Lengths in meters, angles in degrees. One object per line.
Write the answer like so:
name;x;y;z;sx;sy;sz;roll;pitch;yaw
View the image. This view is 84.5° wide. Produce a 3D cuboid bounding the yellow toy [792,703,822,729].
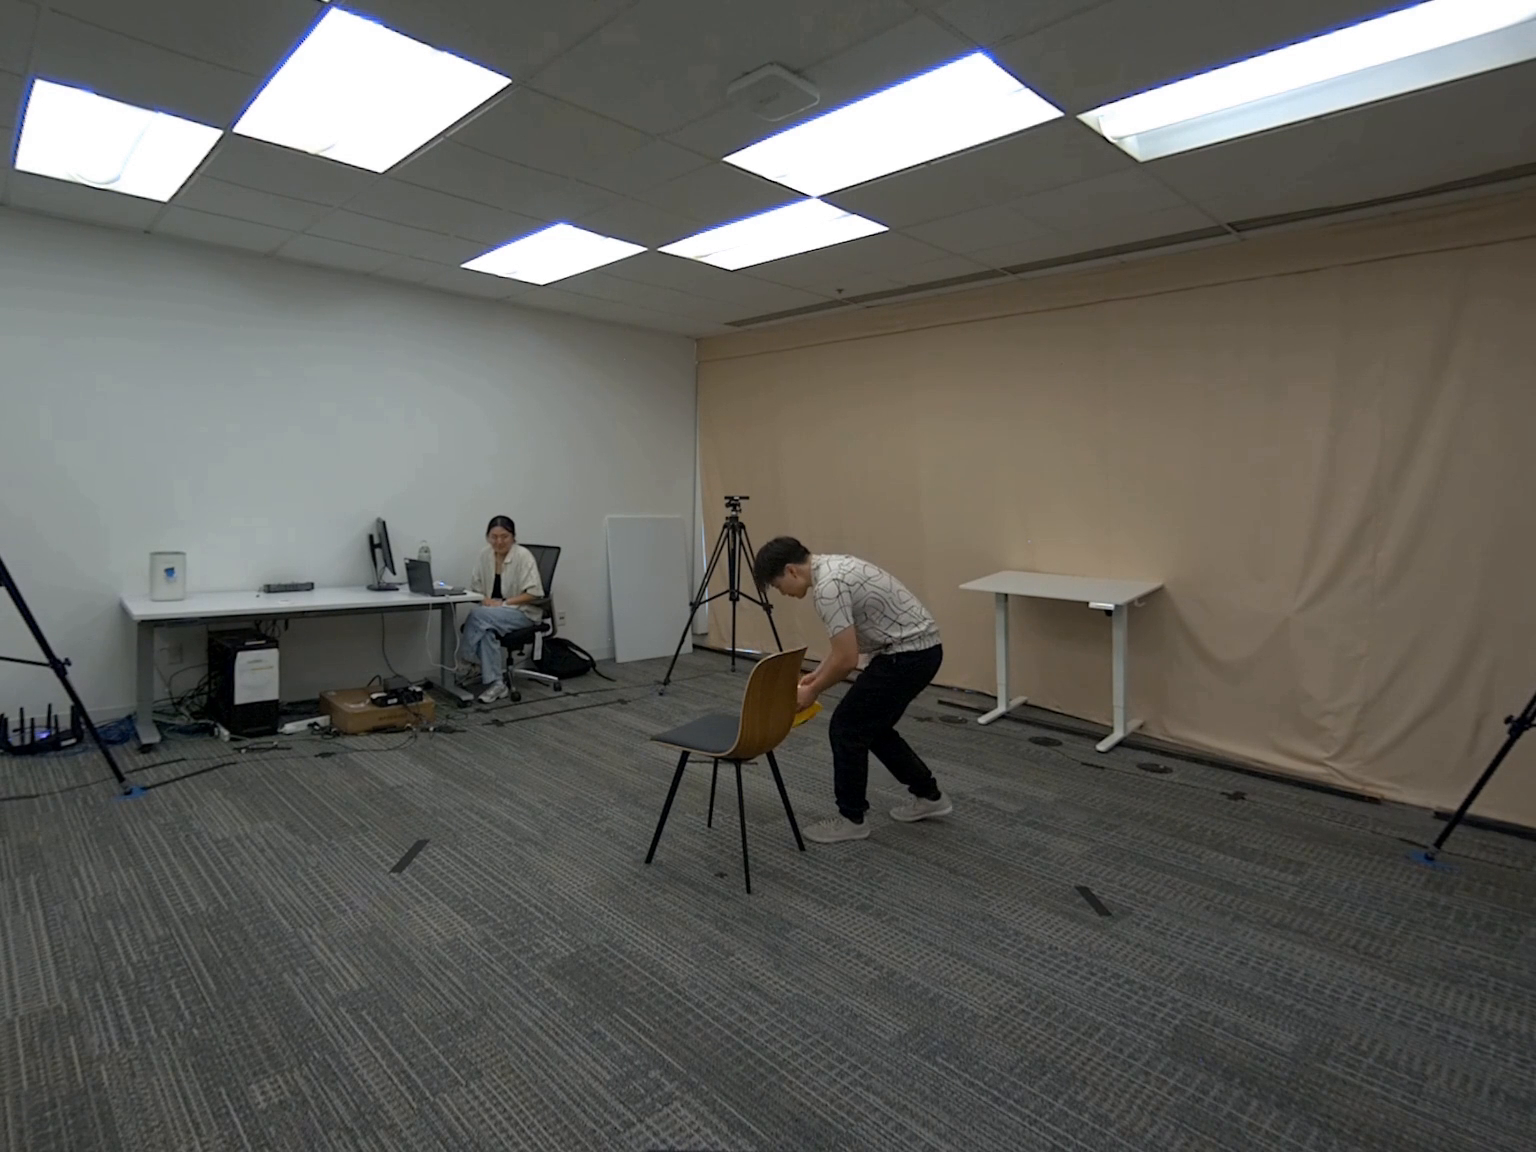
yellow toy;0.104;0.530;3.598;0.204;0.199;0.224;-29;-37;-3
